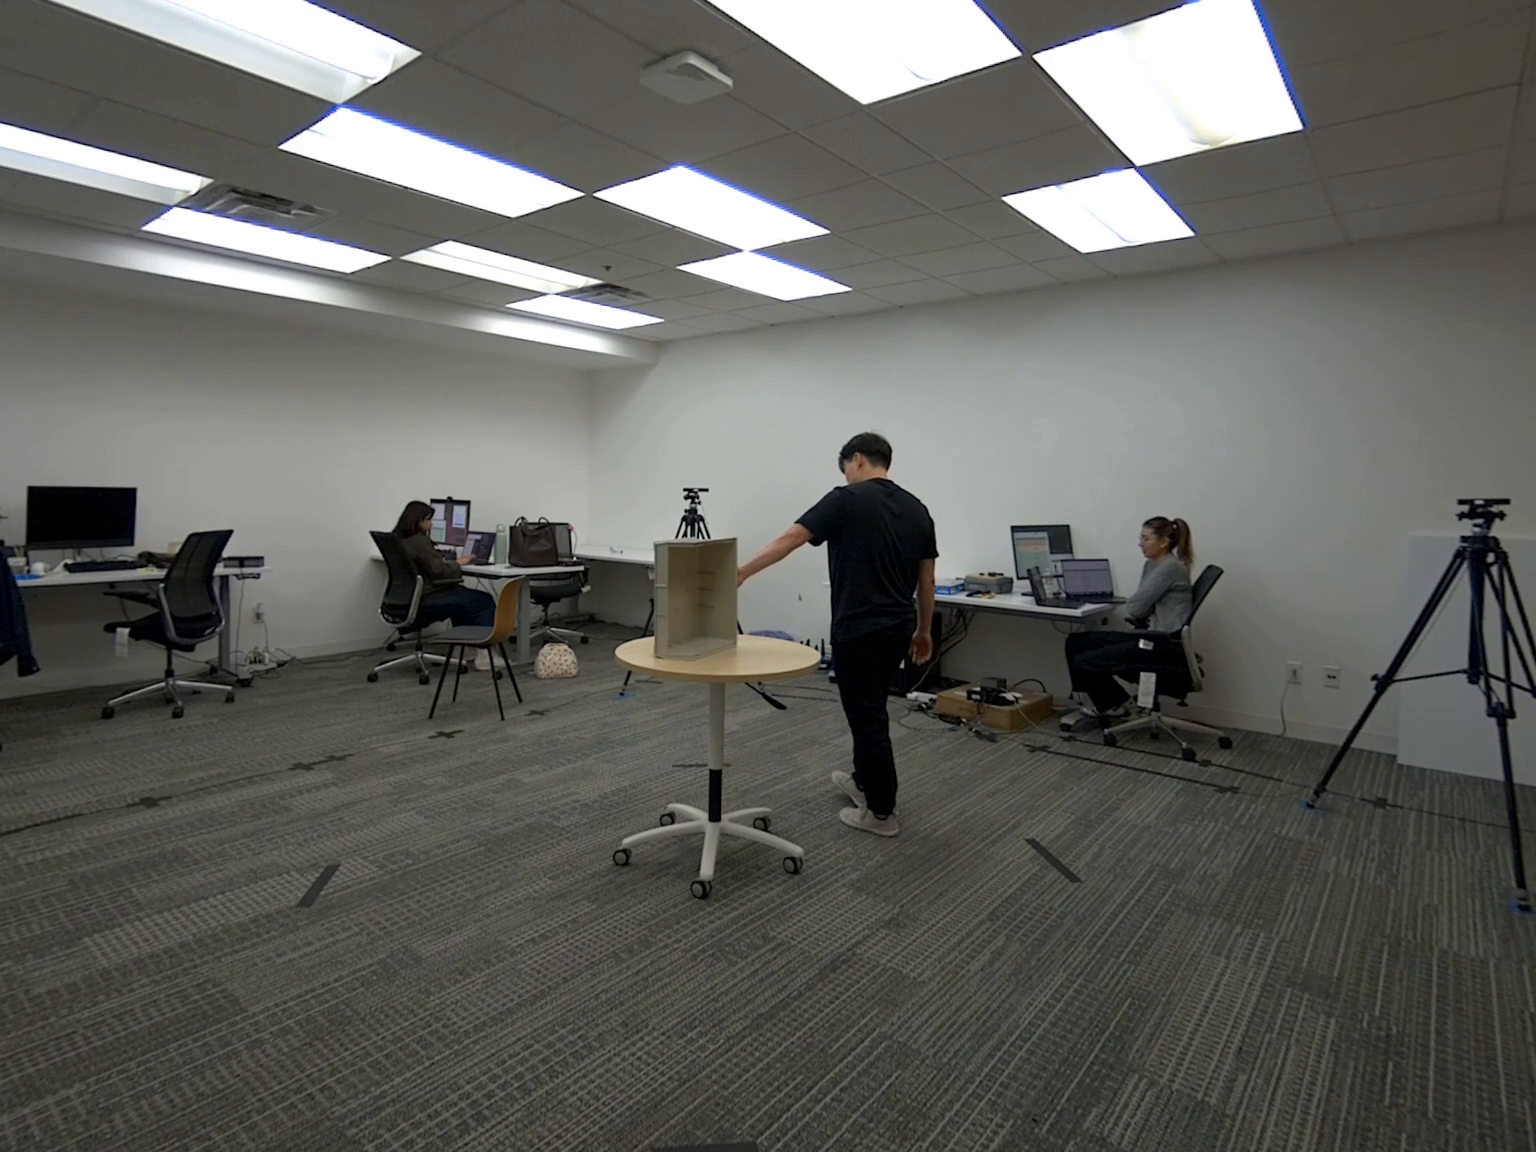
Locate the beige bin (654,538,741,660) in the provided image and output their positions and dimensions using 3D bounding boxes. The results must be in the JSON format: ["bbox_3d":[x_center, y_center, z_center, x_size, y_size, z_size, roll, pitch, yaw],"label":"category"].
[{"bbox_3d":[-0.288,0.068,3.183,0.194,0.421,0.369,1,5,25],"label":"beige bin"}]
